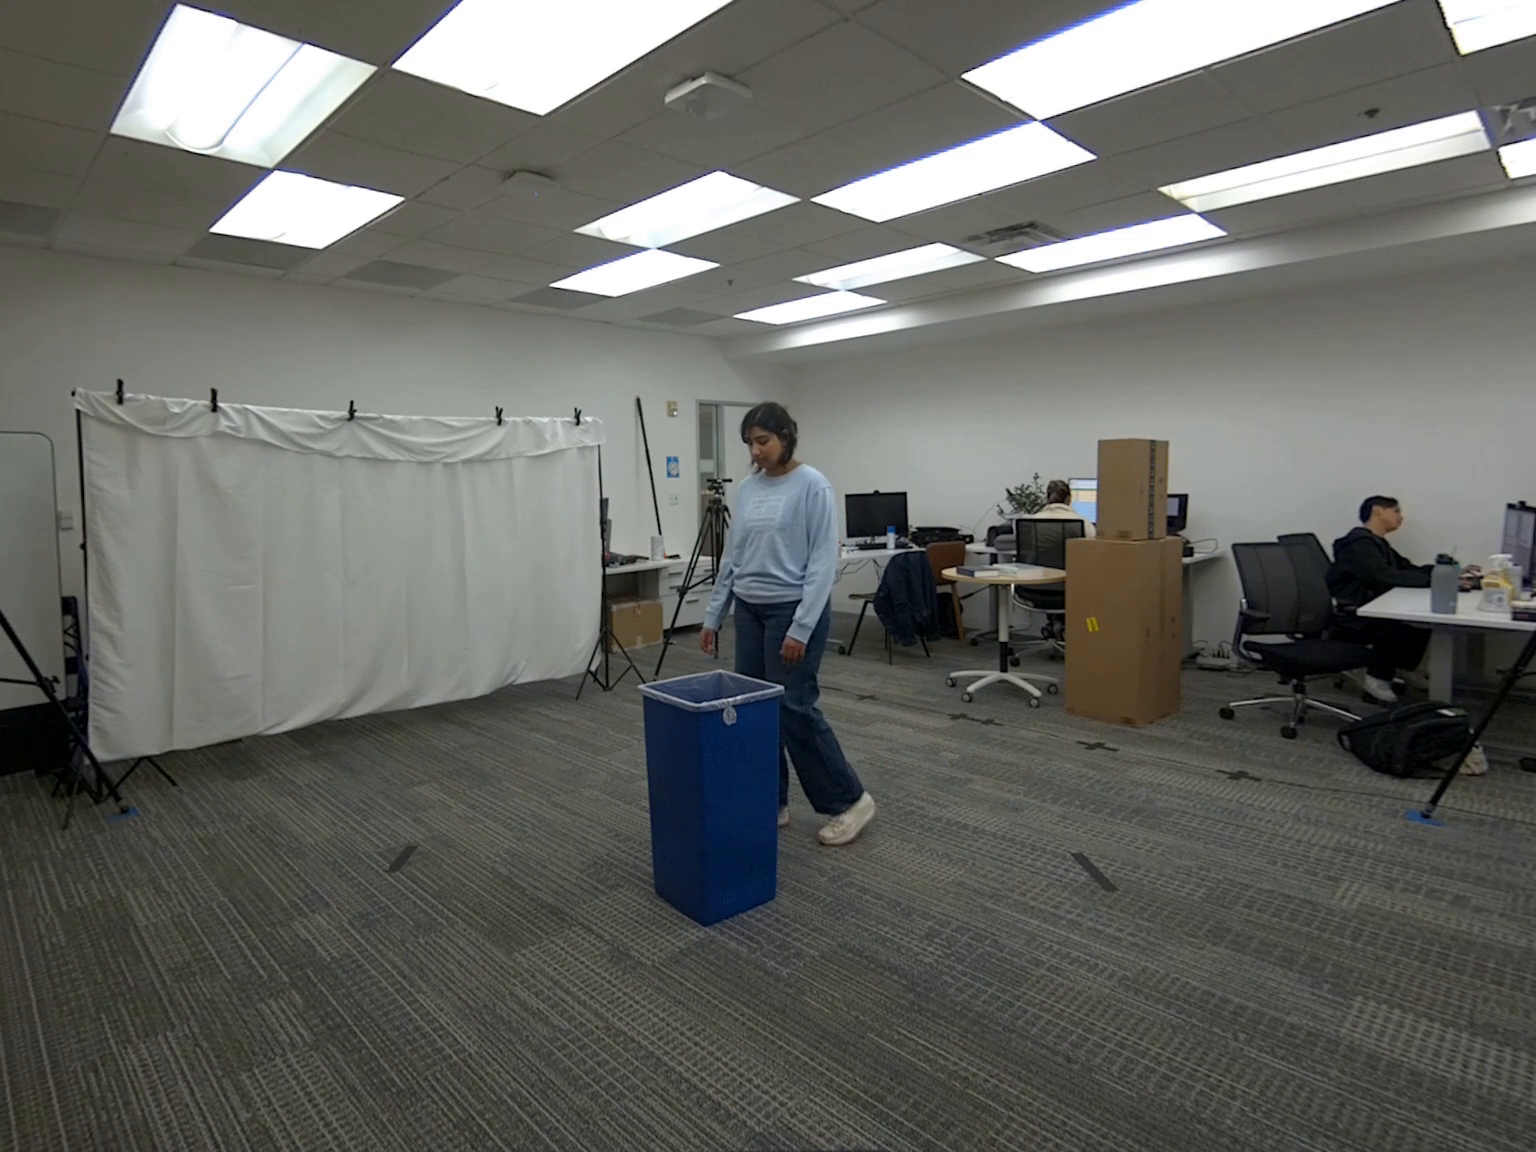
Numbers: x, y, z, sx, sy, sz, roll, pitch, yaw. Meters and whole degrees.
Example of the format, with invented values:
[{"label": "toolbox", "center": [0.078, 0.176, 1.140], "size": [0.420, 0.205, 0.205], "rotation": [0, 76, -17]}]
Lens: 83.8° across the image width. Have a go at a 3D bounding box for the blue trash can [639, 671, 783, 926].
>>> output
[{"label": "blue trash can", "center": [-0.188, 0.720, 2.858], "size": [0.368, 0.711, 0.385], "rotation": [-3, 5, -39]}]
